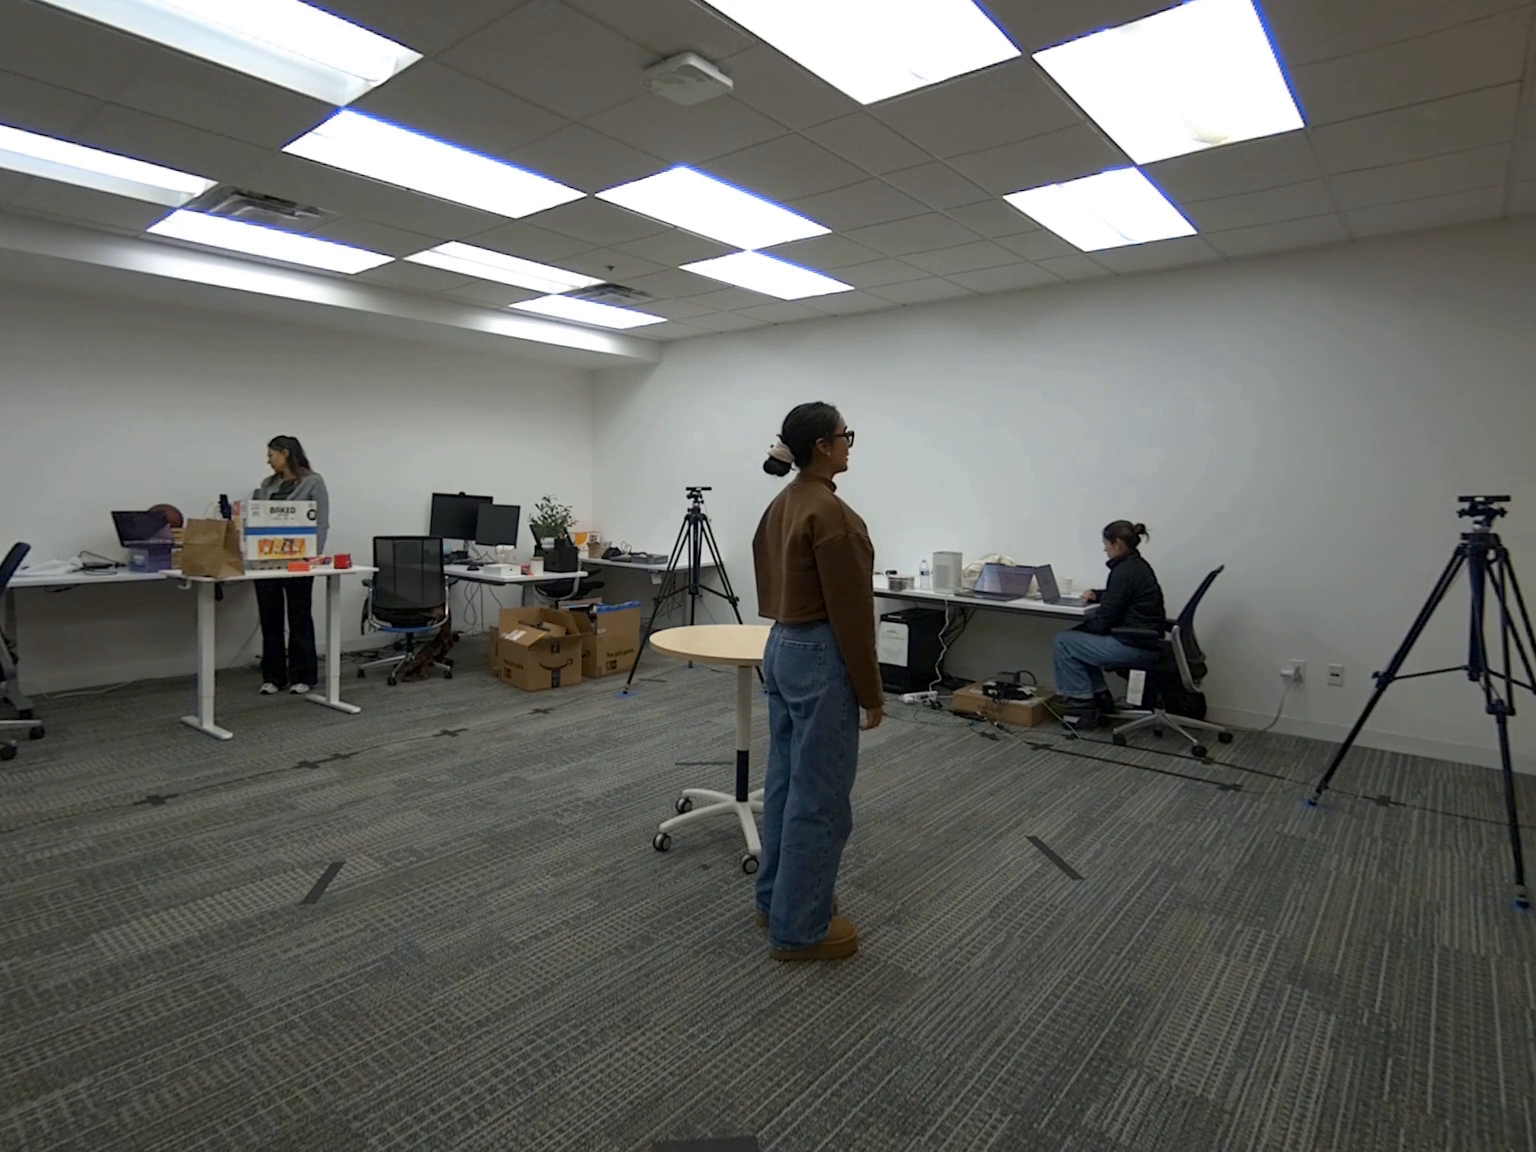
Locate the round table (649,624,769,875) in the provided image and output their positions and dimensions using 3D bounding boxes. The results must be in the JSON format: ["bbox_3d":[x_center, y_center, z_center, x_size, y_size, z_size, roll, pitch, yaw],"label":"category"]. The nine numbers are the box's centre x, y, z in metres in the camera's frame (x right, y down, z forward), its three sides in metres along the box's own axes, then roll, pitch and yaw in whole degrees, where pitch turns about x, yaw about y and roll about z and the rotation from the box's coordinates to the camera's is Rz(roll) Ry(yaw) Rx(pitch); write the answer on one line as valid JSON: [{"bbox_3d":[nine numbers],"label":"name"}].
[{"bbox_3d":[-0.109,0.649,3.402,0.763,0.792,0.767,1,4,-2],"label":"round table"}]
